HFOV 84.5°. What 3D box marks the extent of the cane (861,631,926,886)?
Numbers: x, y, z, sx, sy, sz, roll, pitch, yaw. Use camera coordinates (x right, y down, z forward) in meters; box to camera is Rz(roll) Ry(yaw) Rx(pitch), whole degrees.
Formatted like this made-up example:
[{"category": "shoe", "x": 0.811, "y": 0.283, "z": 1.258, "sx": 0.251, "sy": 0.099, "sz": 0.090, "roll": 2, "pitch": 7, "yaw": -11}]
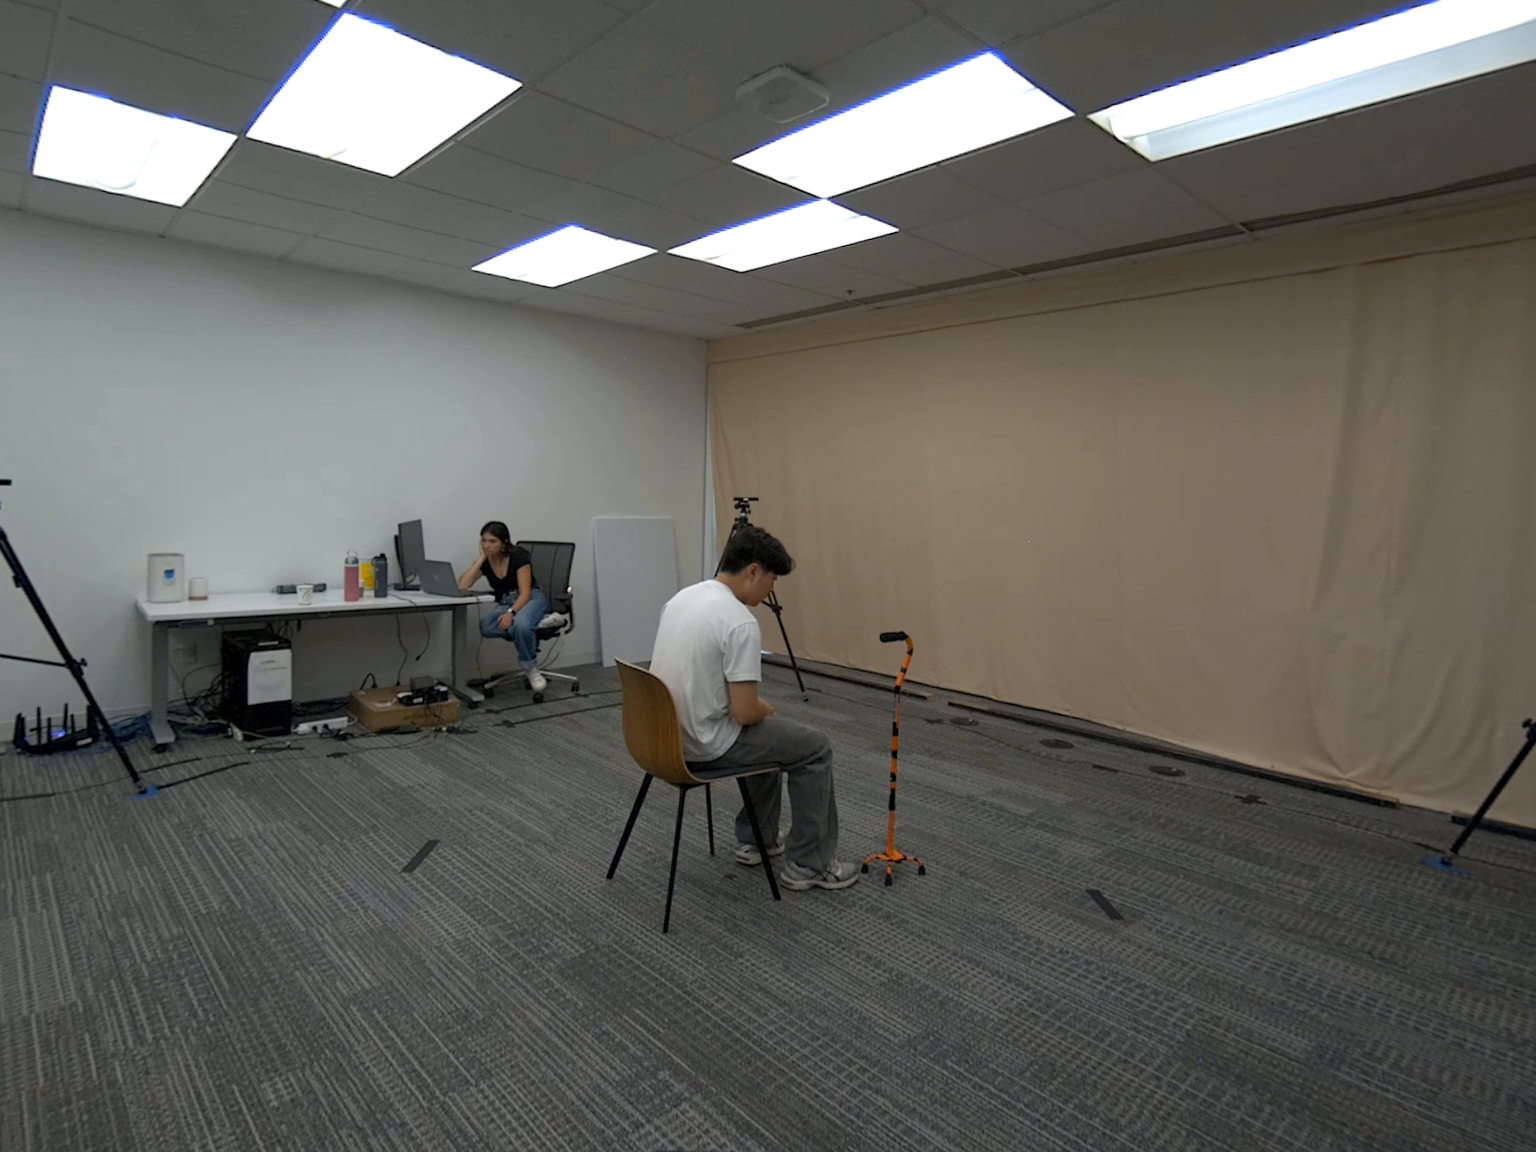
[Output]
[{"category": "cane", "x": 0.482, "y": 0.665, "z": 3.135, "sx": 0.202, "sy": 0.906, "sz": 0.155, "roll": 0, "pitch": 3, "yaw": -38}]
